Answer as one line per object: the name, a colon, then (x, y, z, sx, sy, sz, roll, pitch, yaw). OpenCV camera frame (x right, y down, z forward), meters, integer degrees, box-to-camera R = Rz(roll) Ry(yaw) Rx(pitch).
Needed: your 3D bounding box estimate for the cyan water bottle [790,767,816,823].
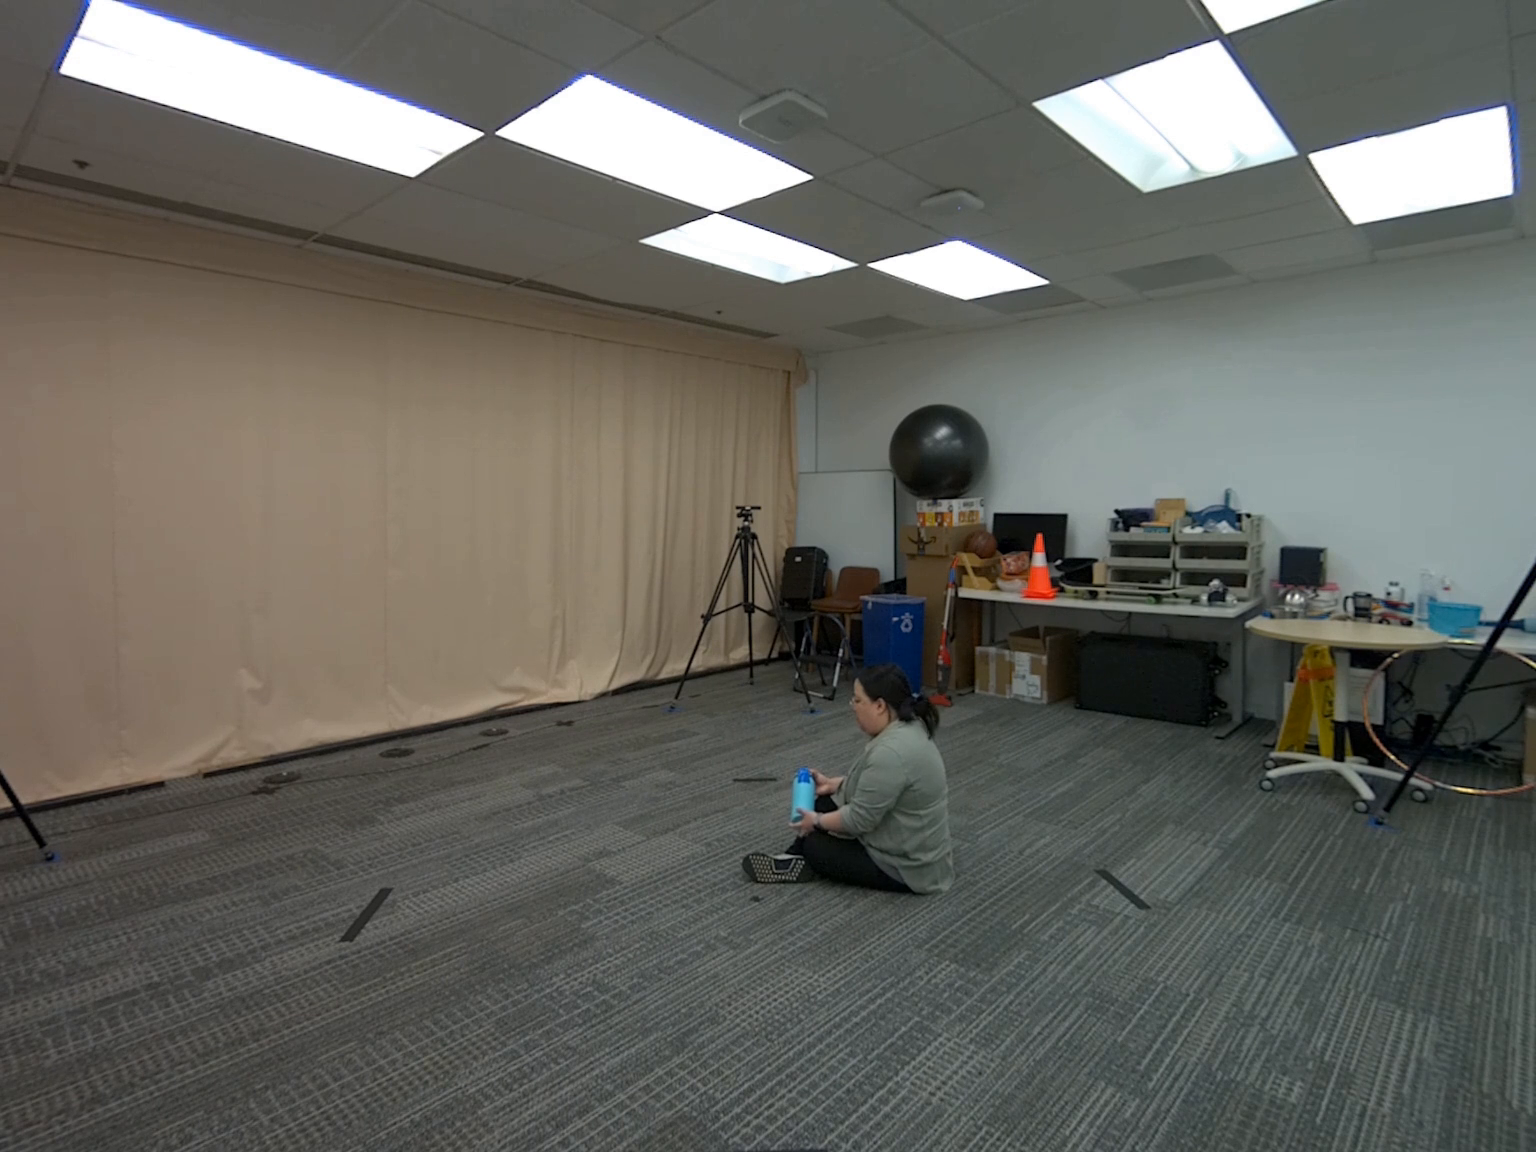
cyan water bottle: (0.150, 0.867, 3.311, 0.093, 0.091, 0.286, 0, 29, 5)
